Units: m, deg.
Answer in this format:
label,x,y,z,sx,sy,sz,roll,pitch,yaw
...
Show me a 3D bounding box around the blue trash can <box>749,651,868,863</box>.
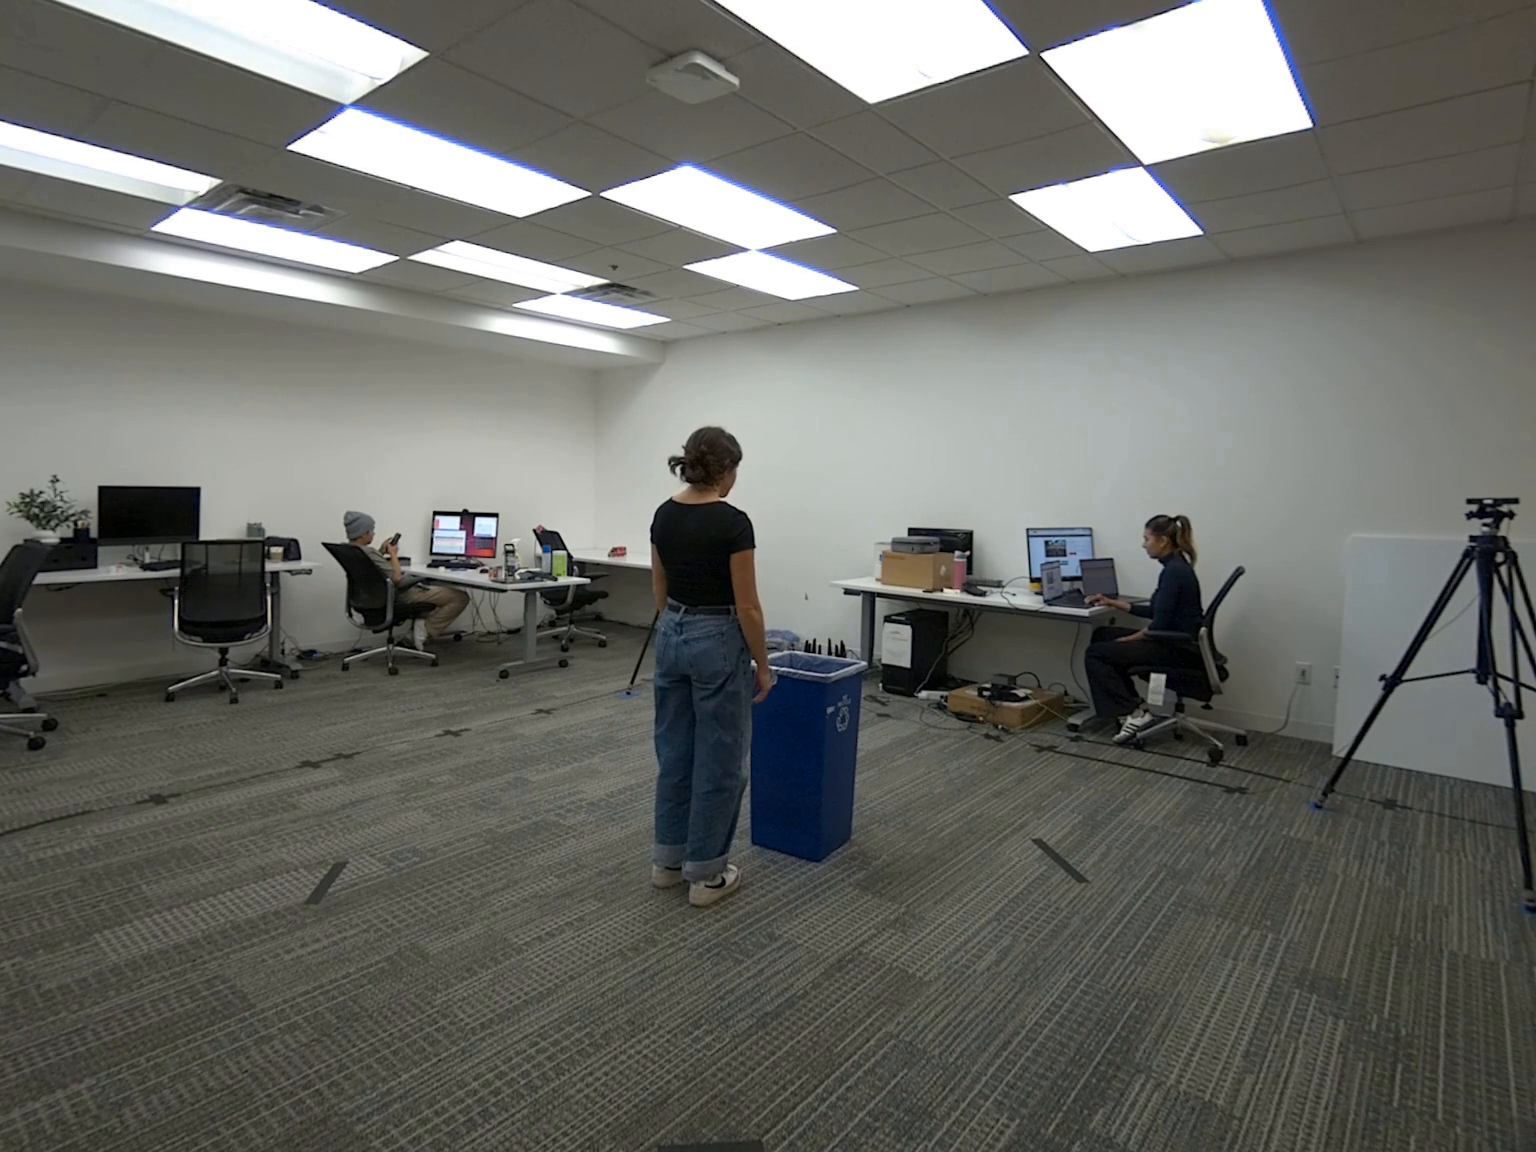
label,x,y,z,sx,sy,sz,roll,pitch,yaw
blue trash can,0.139,0.690,3.367,0.390,0.711,0.364,4,4,32
